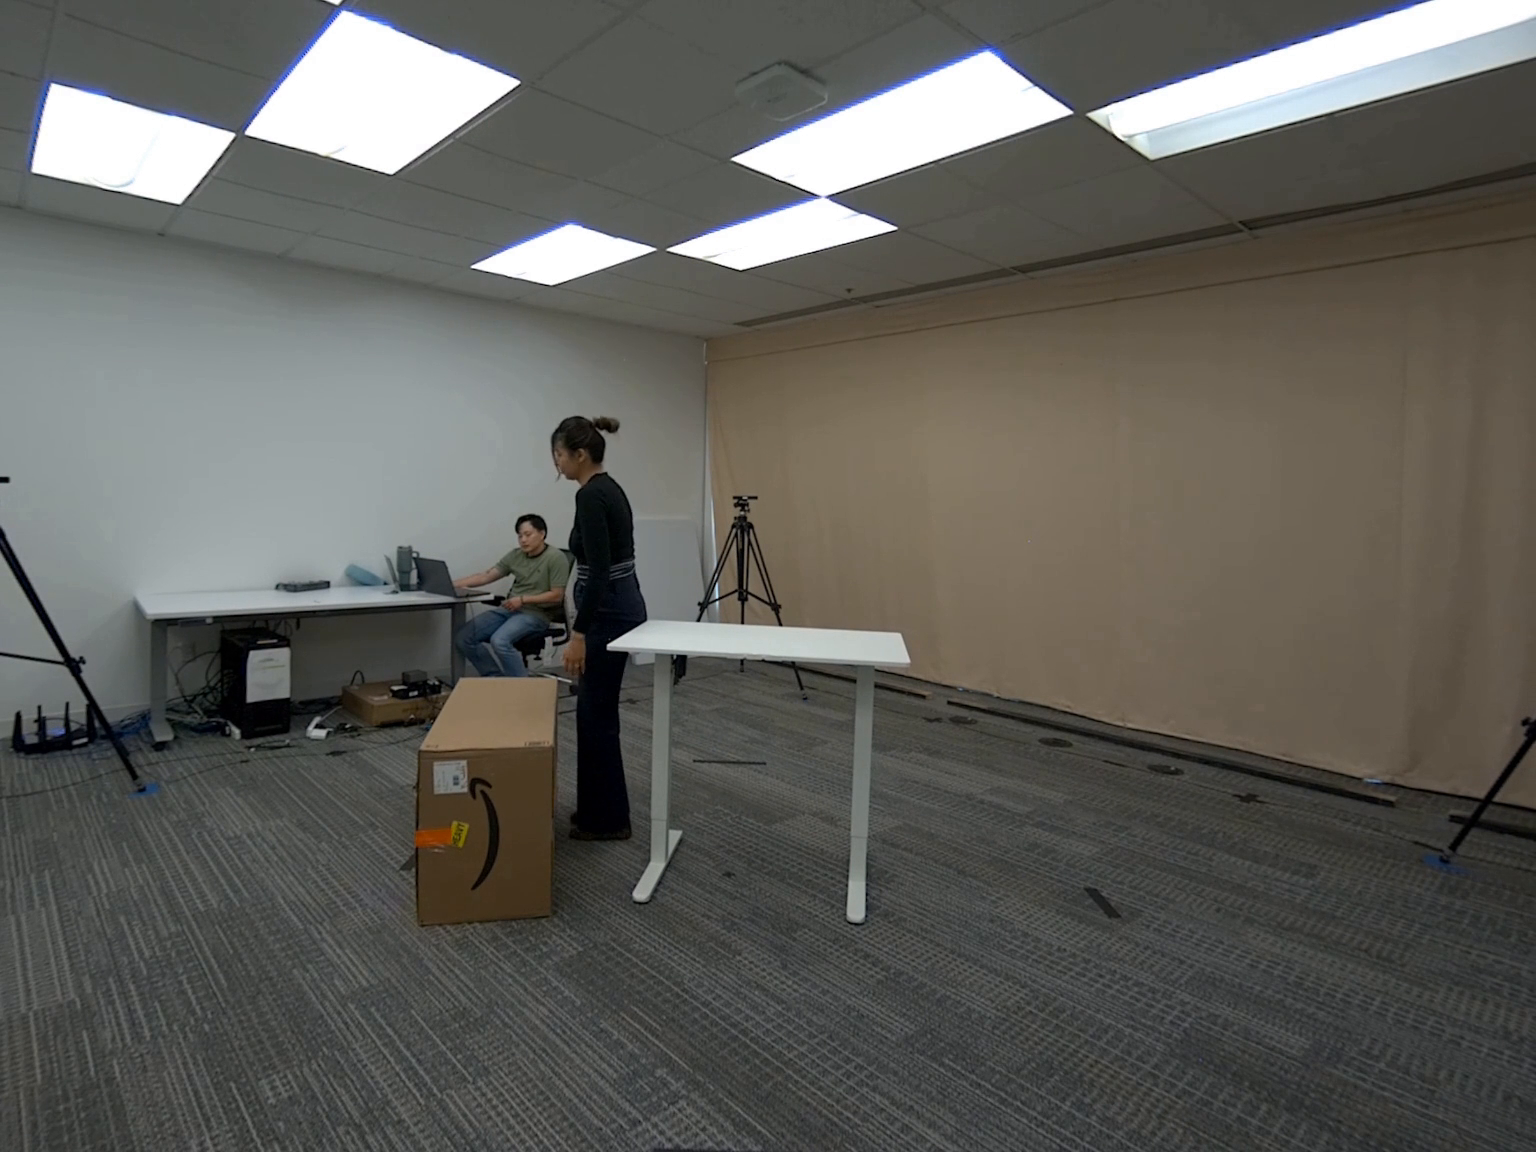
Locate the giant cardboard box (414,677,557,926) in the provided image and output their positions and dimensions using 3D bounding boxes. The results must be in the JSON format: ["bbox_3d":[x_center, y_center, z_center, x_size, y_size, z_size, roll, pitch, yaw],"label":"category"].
[{"bbox_3d":[-1.038,0.781,3.202,0.422,0.576,1.039,0,5,-13],"label":"giant cardboard box"}]
